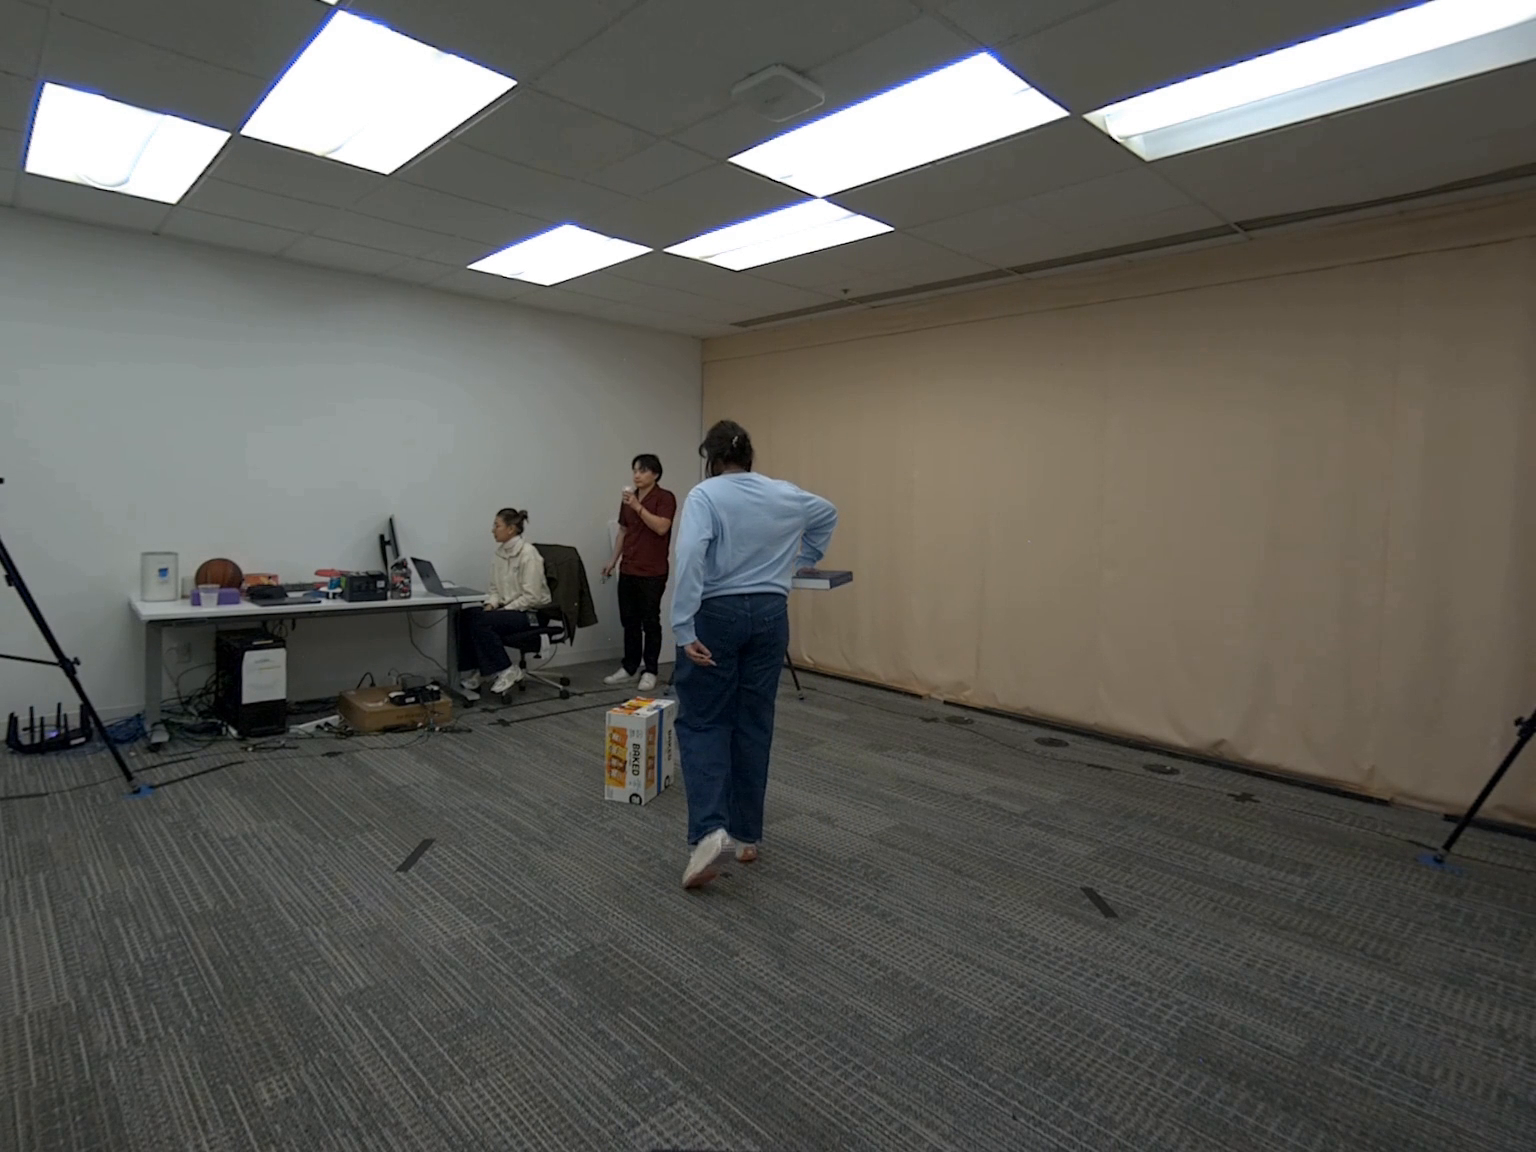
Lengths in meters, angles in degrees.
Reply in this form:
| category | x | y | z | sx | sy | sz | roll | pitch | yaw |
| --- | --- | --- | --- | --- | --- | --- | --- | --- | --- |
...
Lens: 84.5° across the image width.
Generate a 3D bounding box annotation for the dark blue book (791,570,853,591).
| category | x | y | z | sx | sy | sz | roll | pitch | yaw |
| --- | --- | --- | --- | --- | --- | --- | --- | --- | --- |
| dark blue book | 0.187 | 0.014 | 3.346 | 0.166 | 0.045 | 0.241 | 1 | 9 | 26 |
